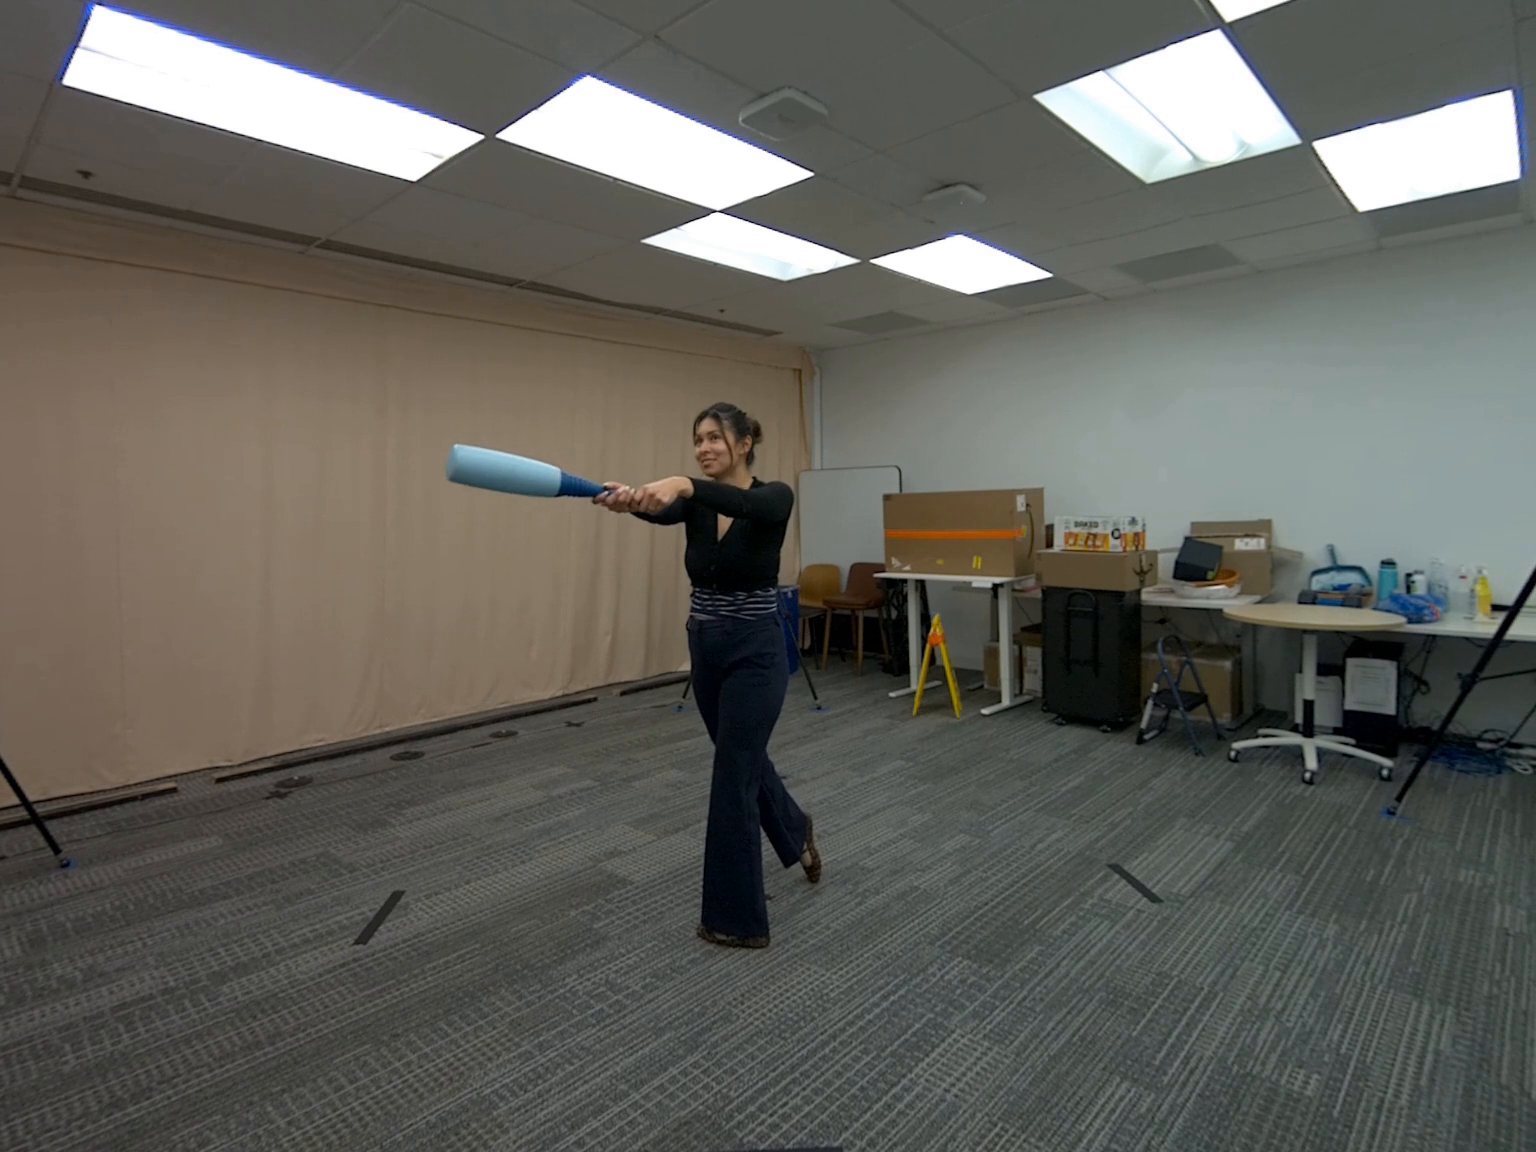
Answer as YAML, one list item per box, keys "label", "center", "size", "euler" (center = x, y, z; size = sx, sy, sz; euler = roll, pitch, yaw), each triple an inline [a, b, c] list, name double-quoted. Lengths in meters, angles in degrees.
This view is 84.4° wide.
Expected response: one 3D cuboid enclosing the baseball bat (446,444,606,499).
- label: "baseball bat"
  center: [-0.480, -0.219, 1.972]
  size: [0.526, 0.089, 0.092]
  euler: [9, -2, -33]
